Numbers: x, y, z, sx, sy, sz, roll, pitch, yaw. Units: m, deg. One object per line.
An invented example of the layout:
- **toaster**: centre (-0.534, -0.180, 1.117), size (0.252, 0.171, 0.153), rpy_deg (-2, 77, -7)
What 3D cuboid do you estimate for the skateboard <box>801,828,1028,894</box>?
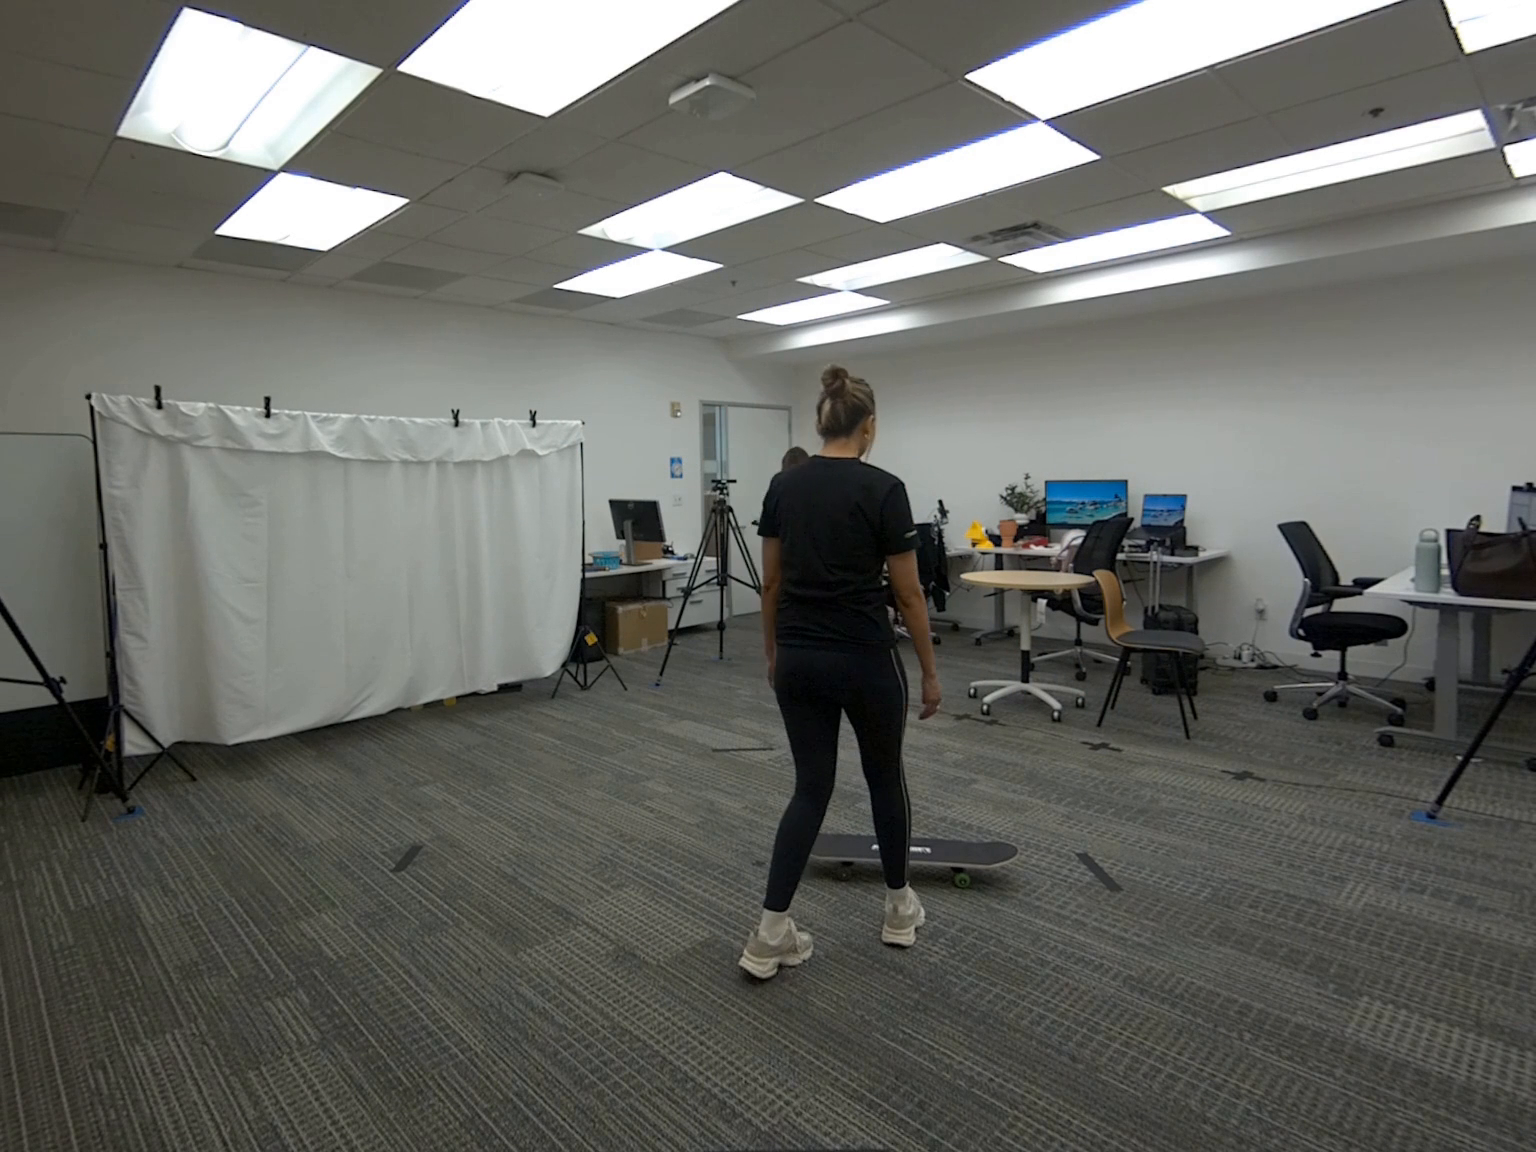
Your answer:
- **skateboard**: centre (0.480, 0.992, 3.009), size (0.793, 0.110, 0.192), rpy_deg (0, 5, 10)
